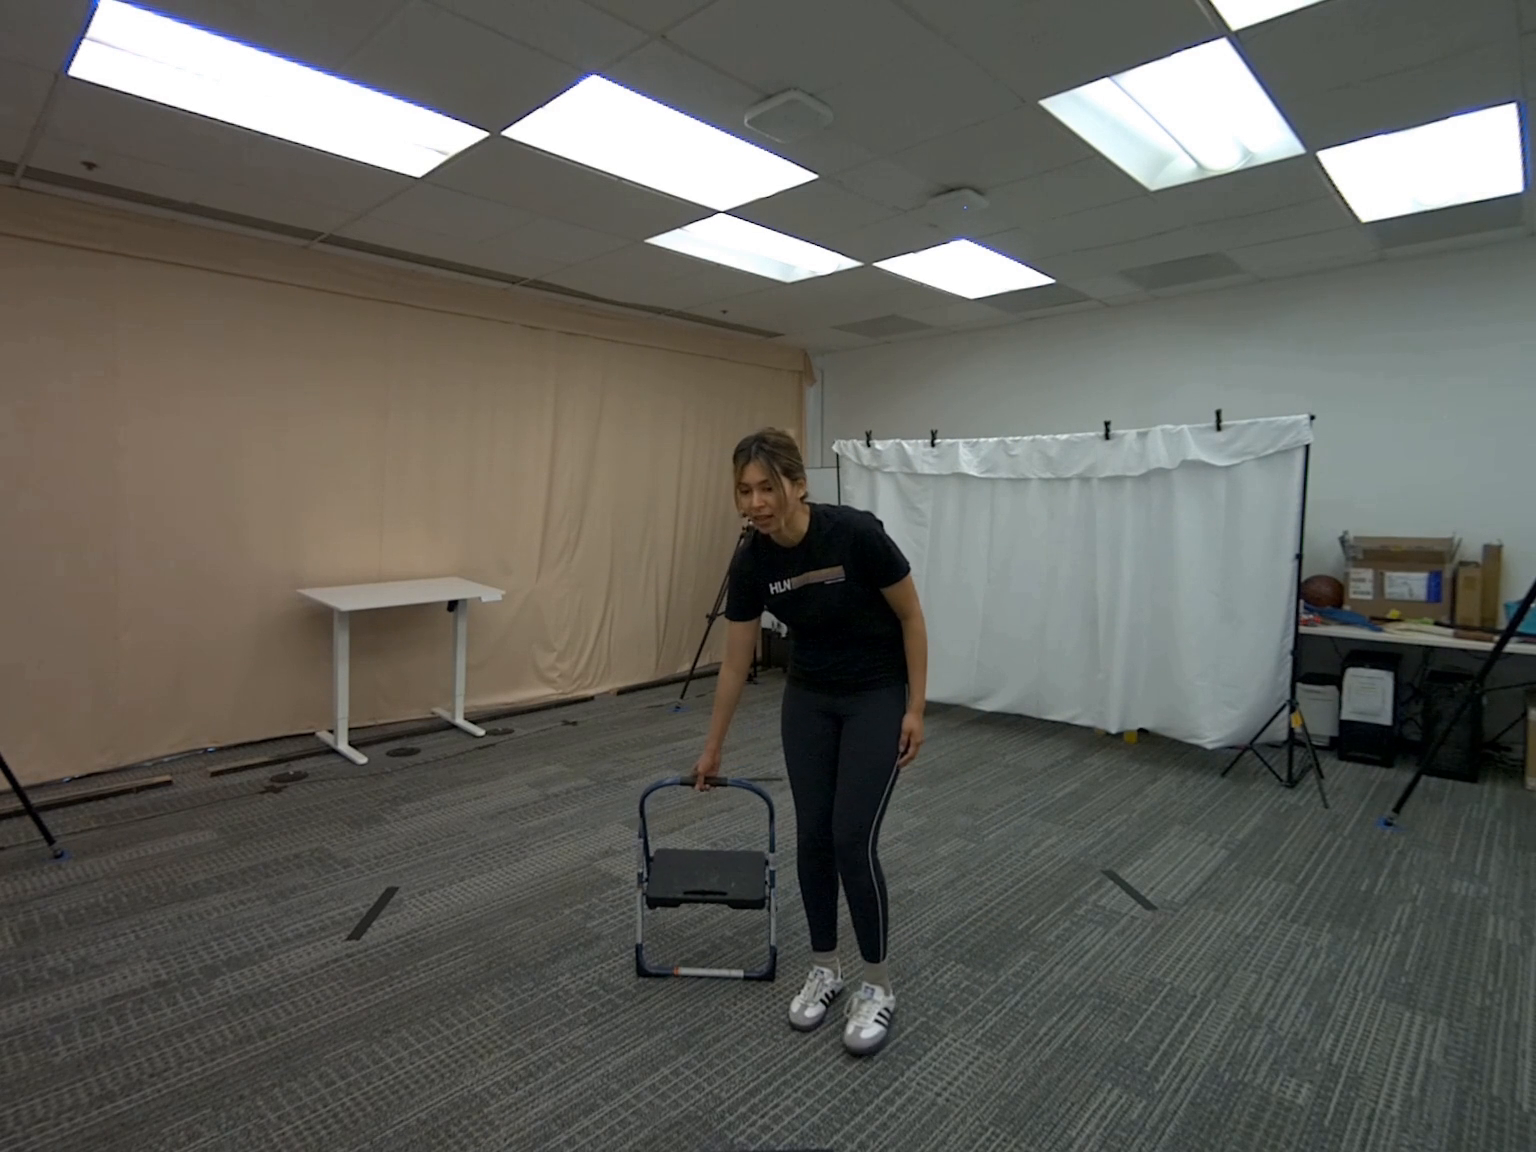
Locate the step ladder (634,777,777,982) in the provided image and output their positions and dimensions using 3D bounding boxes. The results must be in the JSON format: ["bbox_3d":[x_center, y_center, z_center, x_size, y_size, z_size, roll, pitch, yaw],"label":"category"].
[{"bbox_3d":[-0.187,0.857,2.563,0.431,0.601,0.352,0,14,1],"label":"step ladder"}]
